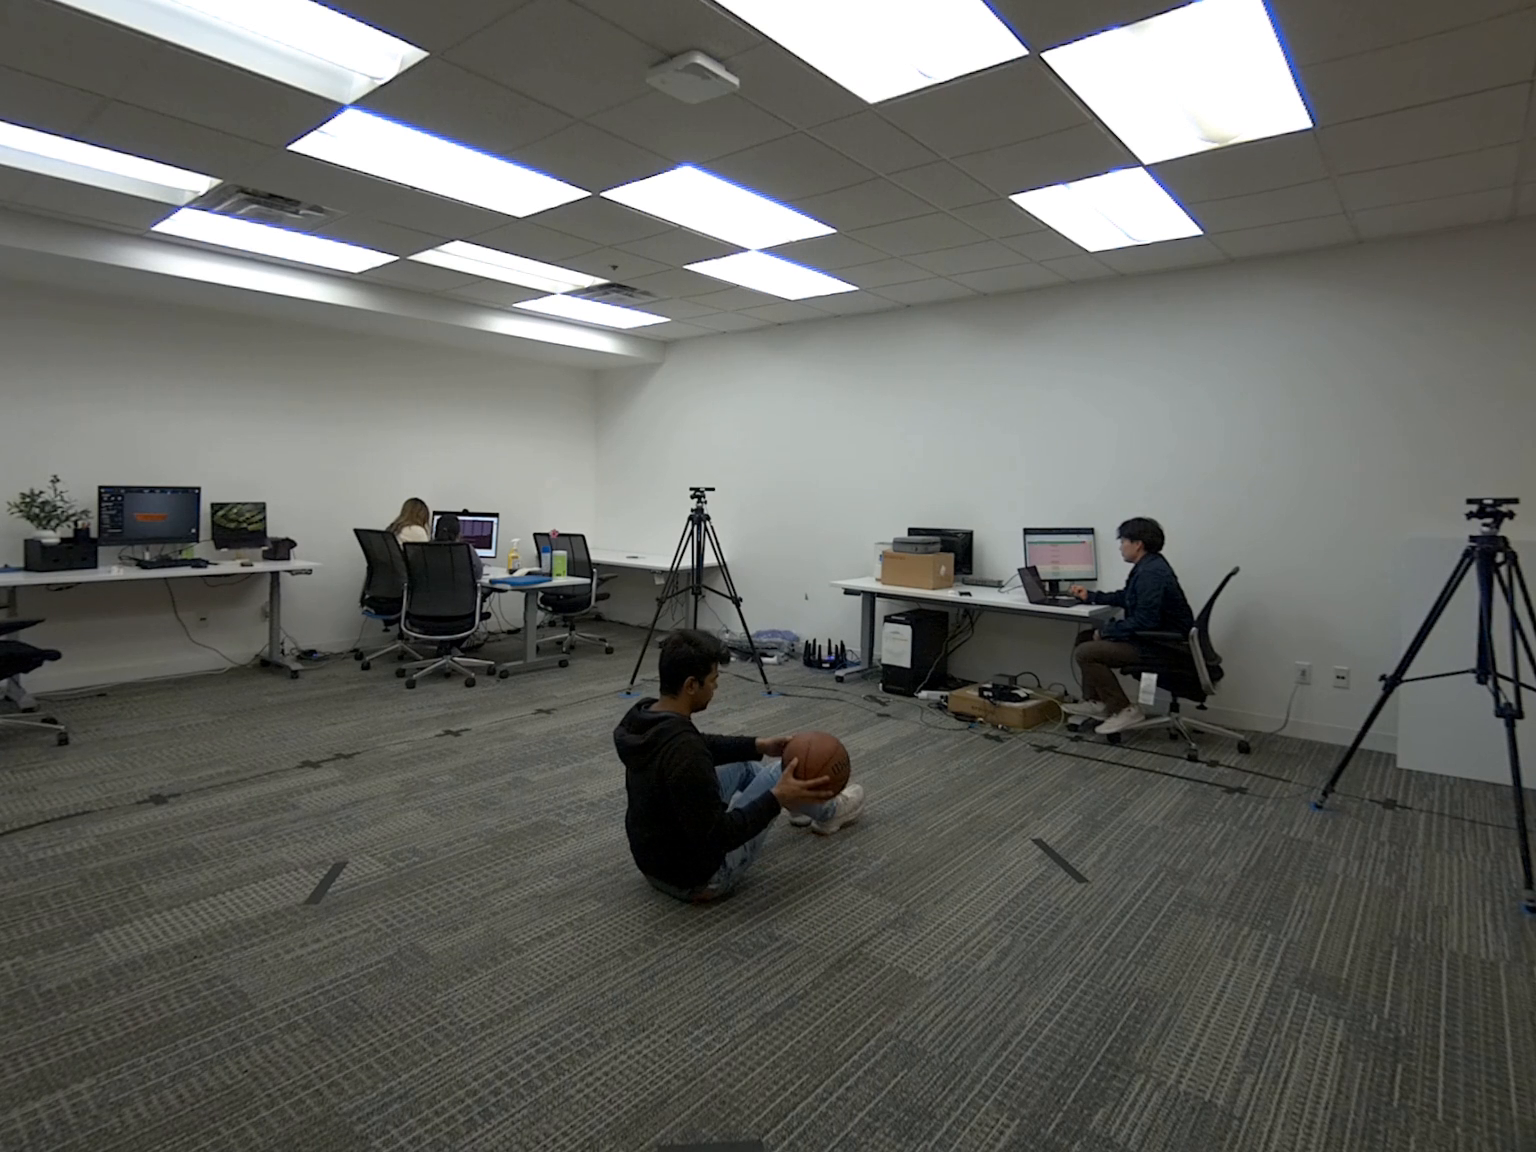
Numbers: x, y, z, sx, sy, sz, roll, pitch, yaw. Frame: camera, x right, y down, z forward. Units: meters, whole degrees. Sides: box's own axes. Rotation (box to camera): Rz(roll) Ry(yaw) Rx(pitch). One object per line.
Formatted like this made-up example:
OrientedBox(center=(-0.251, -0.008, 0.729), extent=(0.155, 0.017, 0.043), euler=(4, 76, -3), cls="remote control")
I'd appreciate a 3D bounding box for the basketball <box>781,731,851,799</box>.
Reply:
OrientedBox(center=(0.139, 0.658, 2.922), extent=(0.235, 0.235, 0.237), euler=(1, 4, -2), cls="basketball")
